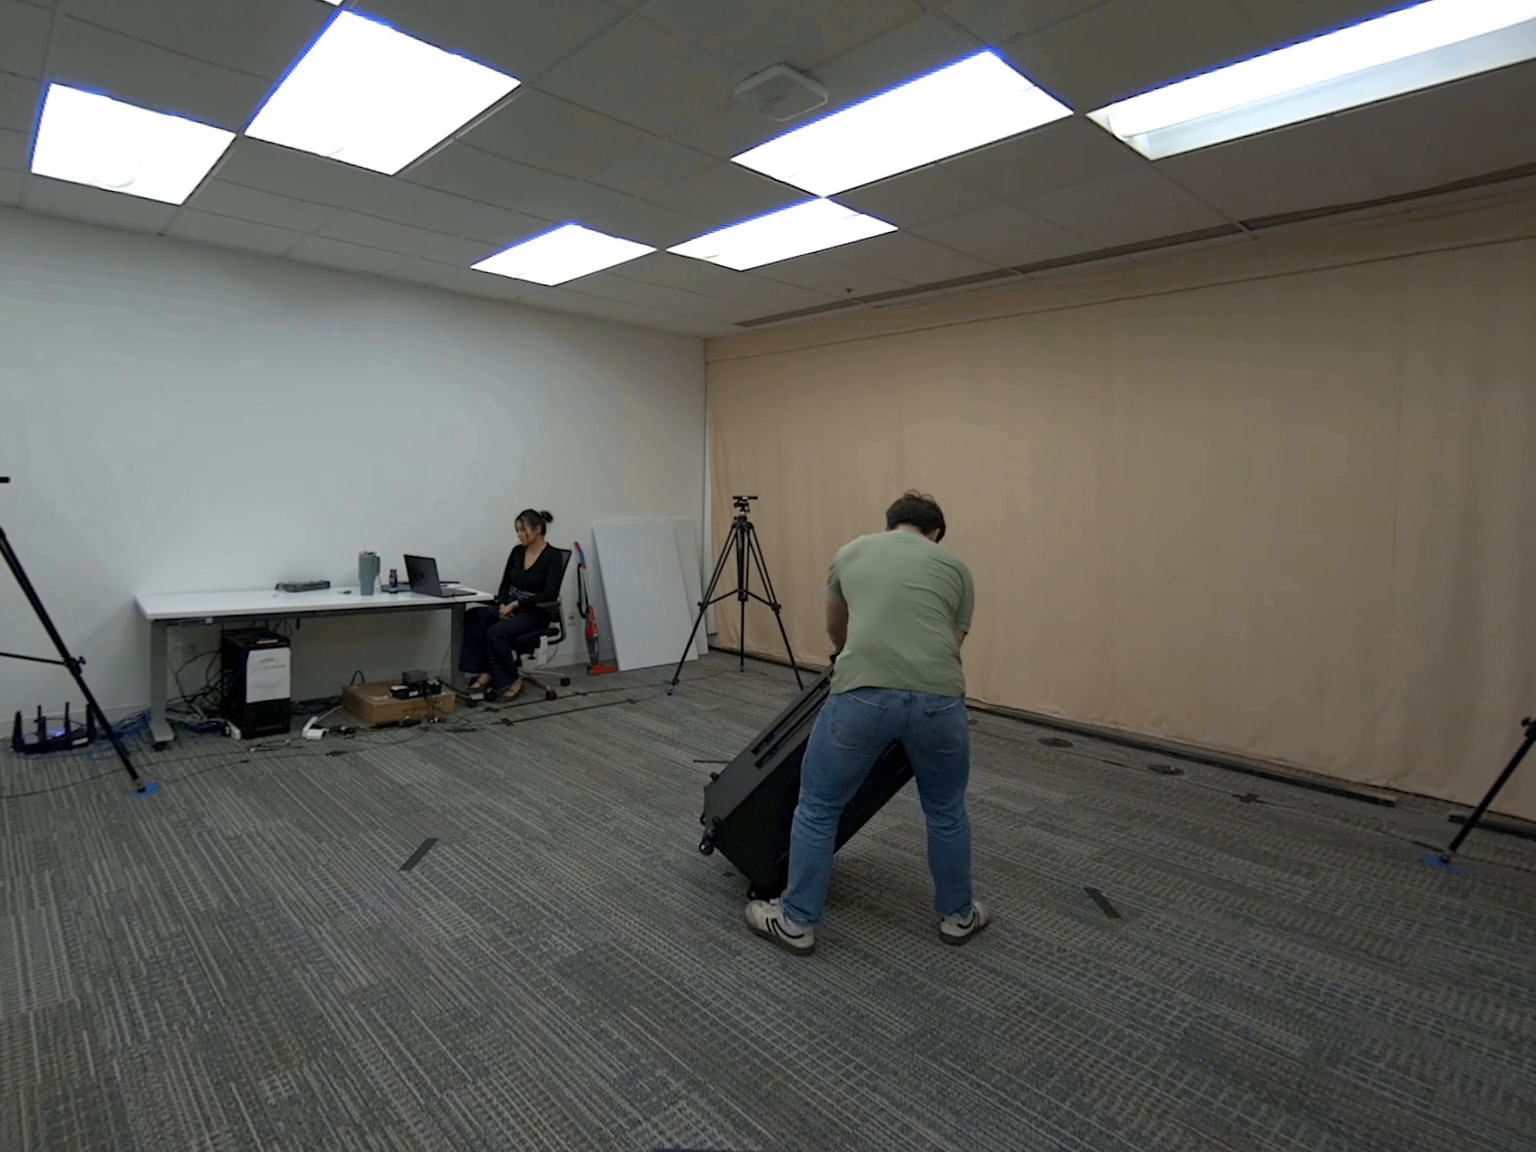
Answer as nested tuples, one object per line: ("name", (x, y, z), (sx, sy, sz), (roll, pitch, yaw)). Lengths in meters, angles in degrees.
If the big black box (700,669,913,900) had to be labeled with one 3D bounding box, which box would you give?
("big black box", (0.126, 0.718, 3.031), (0.394, 0.861, 0.524), (44, 2, -5))
